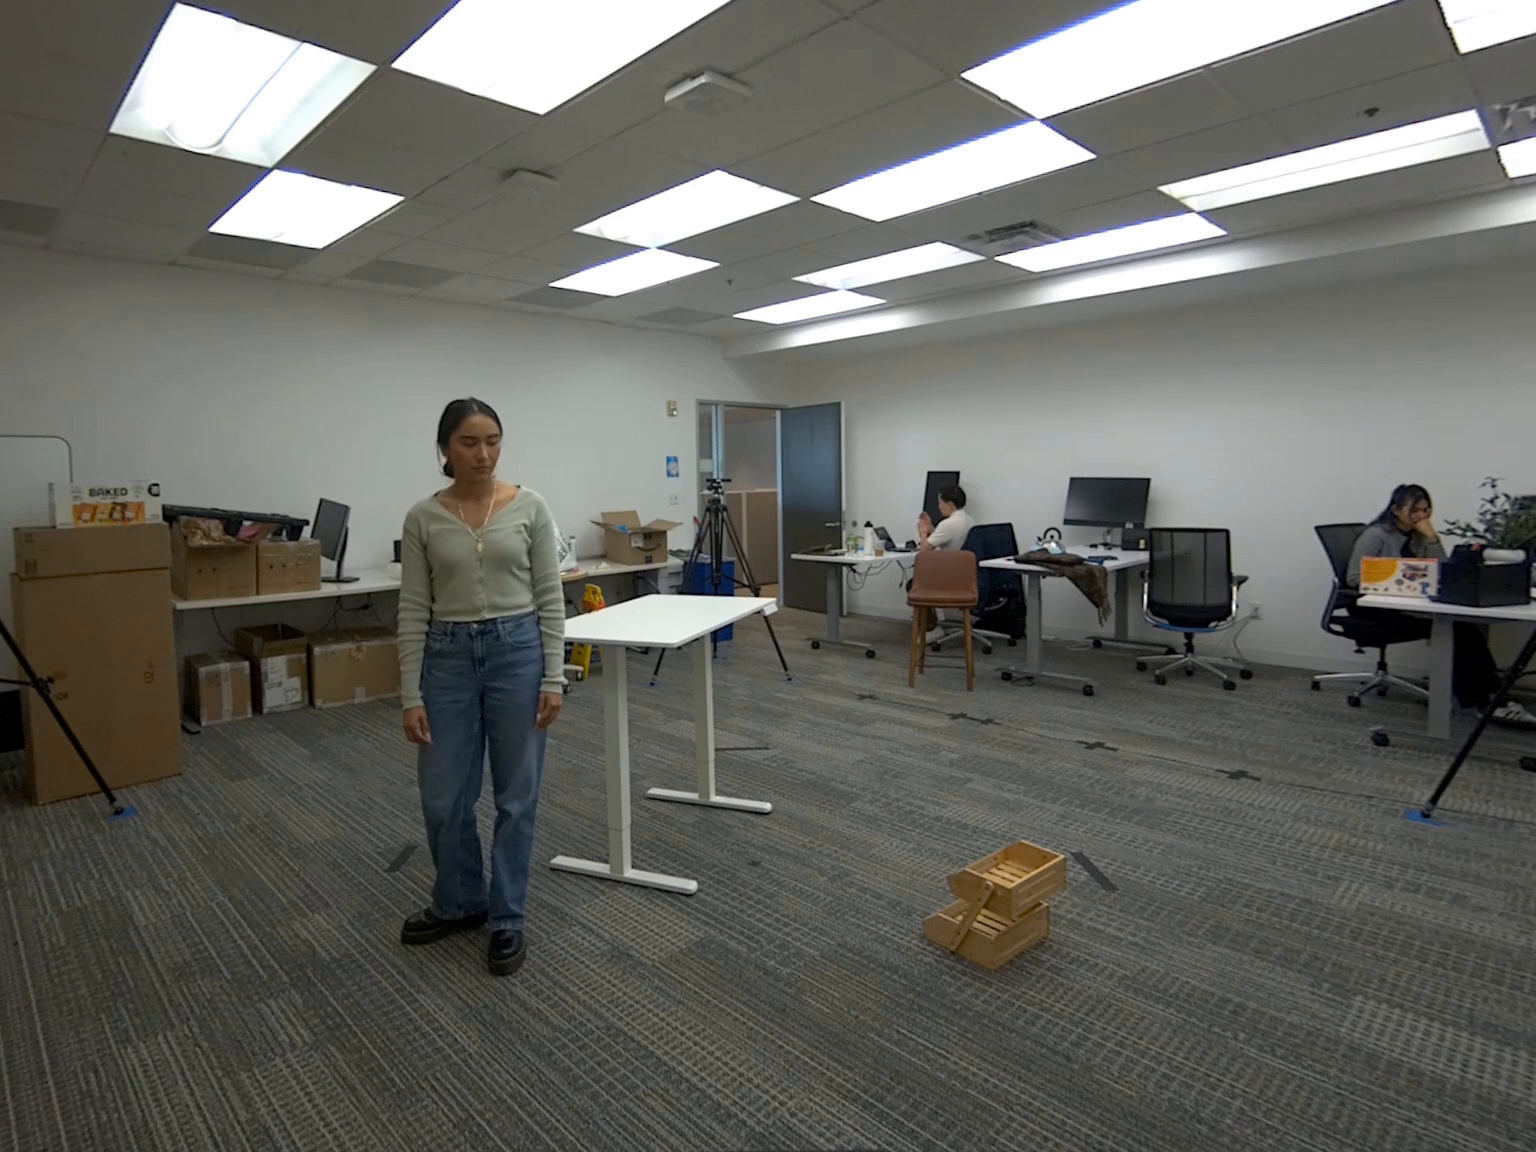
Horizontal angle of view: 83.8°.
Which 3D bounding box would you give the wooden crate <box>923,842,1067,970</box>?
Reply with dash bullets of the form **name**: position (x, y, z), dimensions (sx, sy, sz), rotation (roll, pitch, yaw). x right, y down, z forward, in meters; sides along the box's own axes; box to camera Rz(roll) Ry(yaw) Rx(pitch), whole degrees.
- **wooden crate**: position (0.681, 0.959, 2.566), dimensions (0.316, 0.272, 0.311), rotation (-6, 8, -42)
